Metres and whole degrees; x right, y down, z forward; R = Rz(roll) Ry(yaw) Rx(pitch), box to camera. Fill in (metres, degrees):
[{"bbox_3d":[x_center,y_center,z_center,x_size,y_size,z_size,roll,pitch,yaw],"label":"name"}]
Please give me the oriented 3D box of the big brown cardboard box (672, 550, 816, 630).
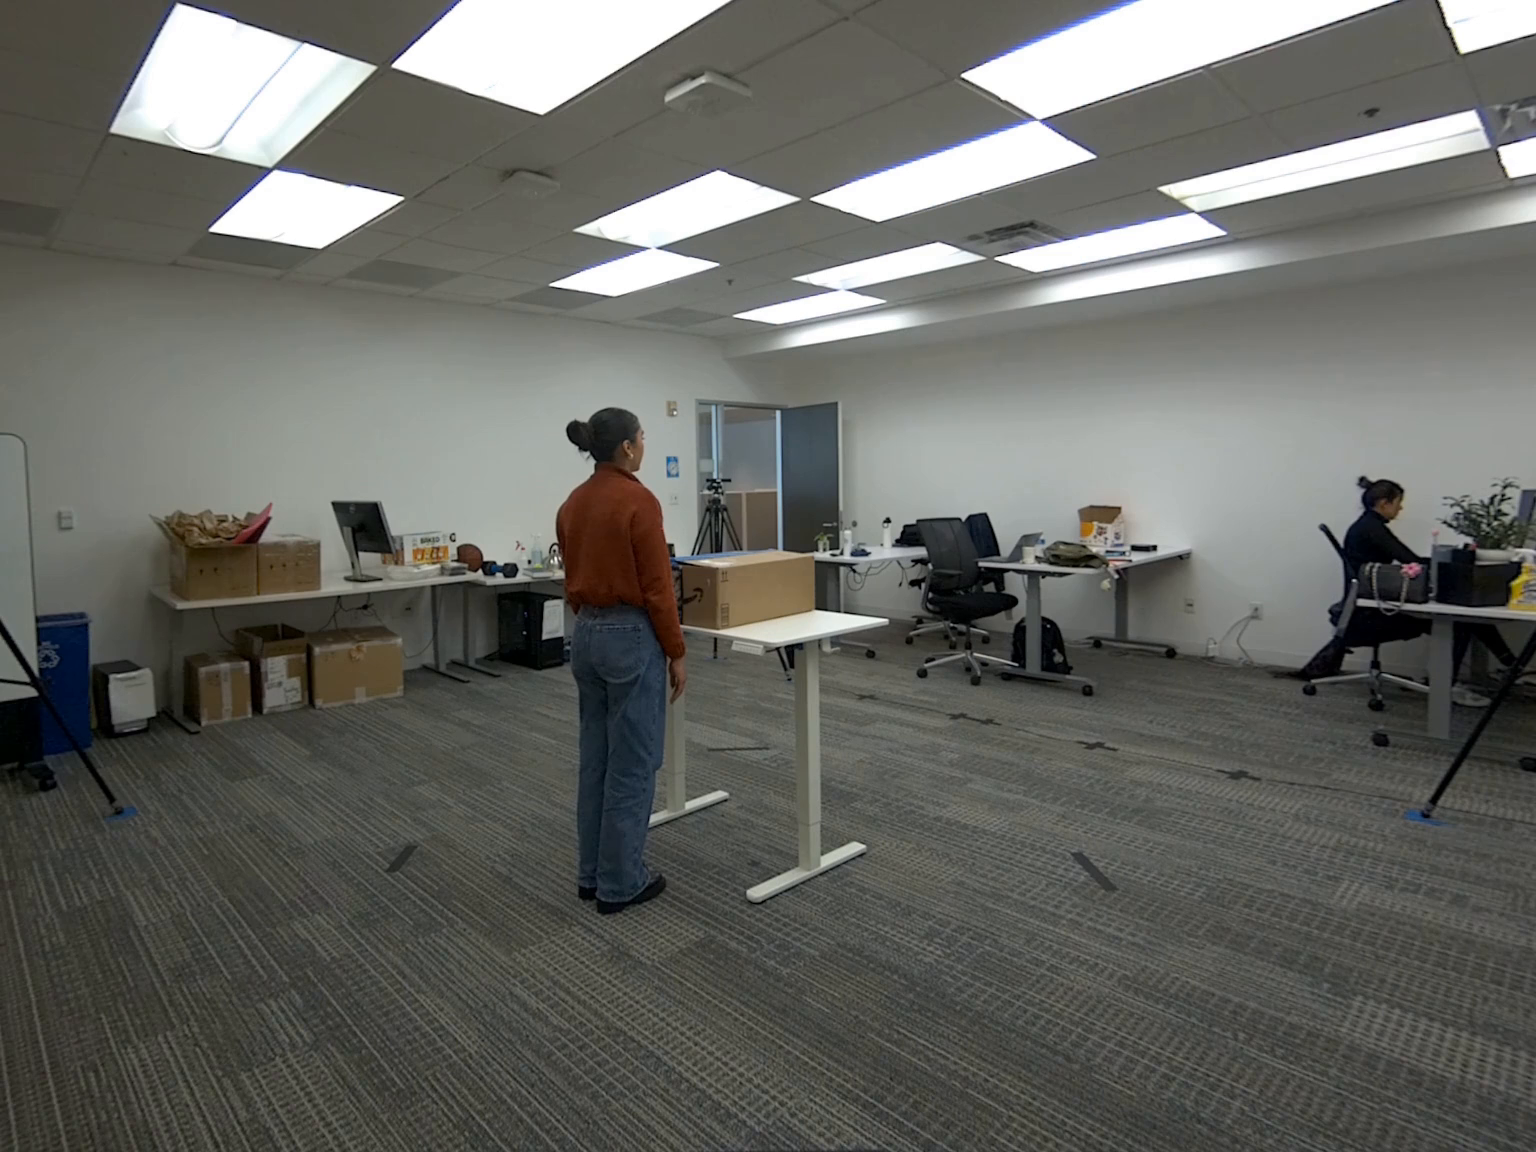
[{"bbox_3d":[-0.156,0.038,3.246,0.430,0.232,0.573,3,6,40],"label":"big brown cardboard box"}]
